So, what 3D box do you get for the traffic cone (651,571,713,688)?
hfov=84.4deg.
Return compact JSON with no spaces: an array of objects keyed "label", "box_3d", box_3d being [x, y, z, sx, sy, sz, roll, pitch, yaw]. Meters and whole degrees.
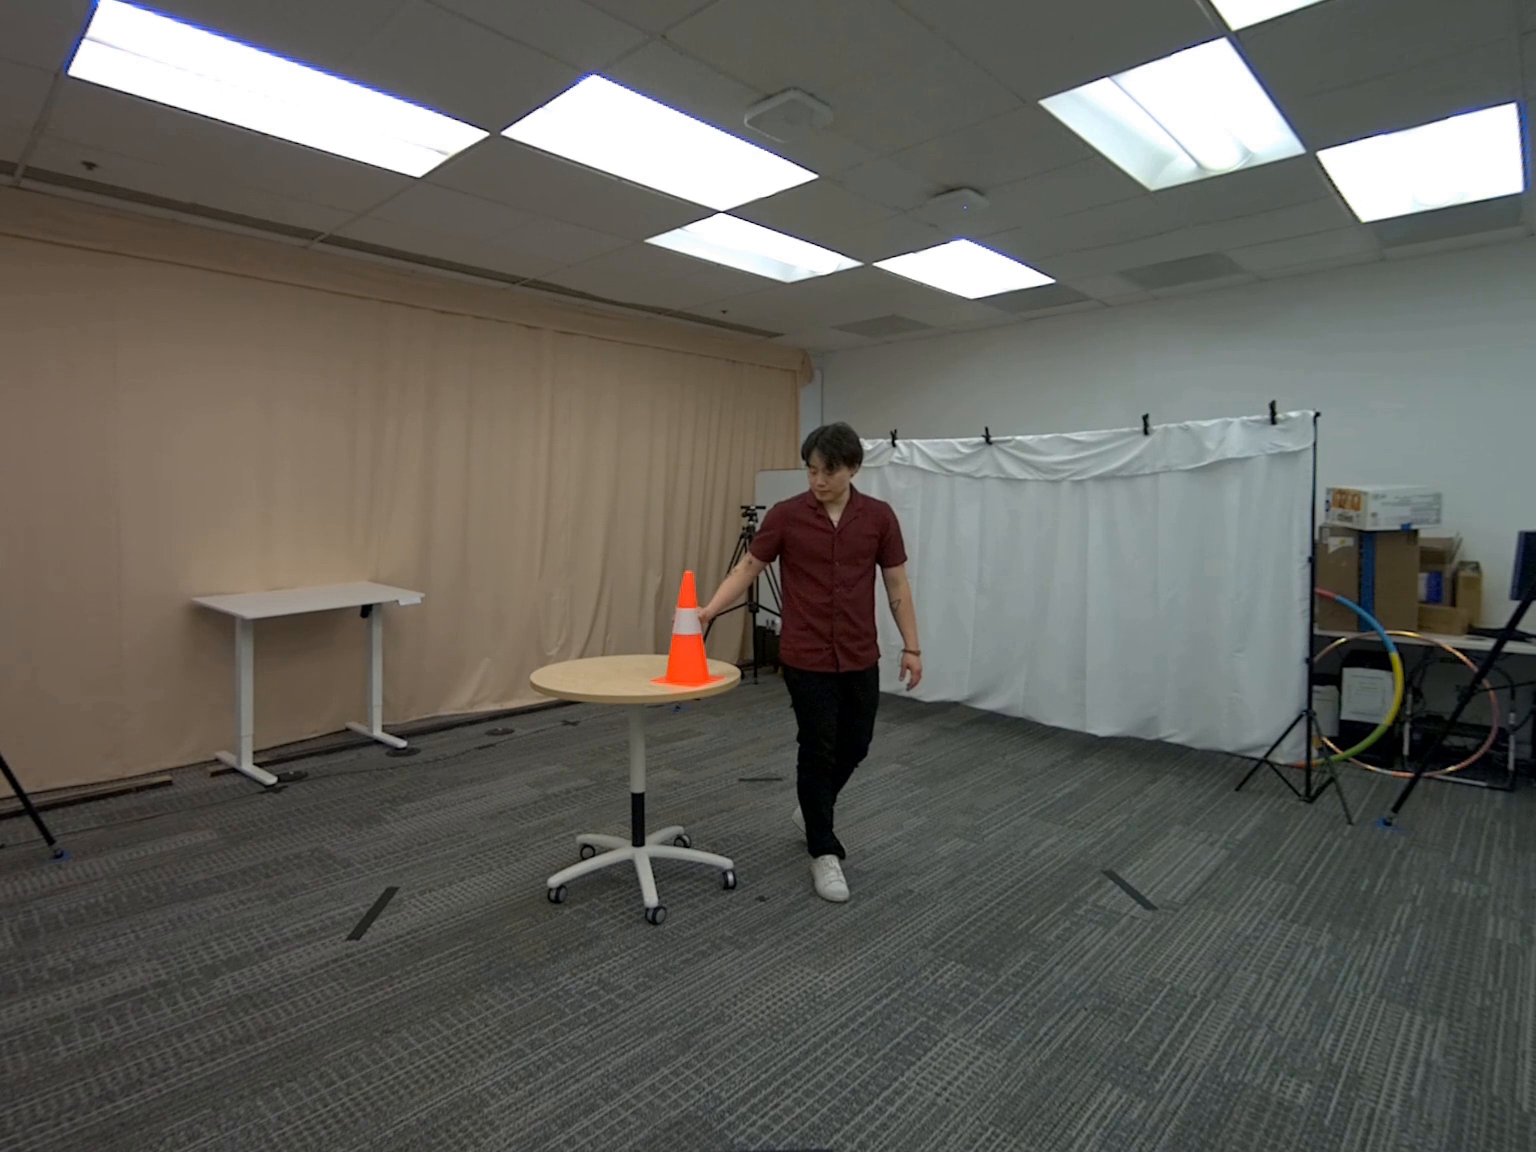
[{"label":"traffic cone","box_3d":[-0.280,0.179,2.957,0.209,0.383,0.200,3,4,28]}]
